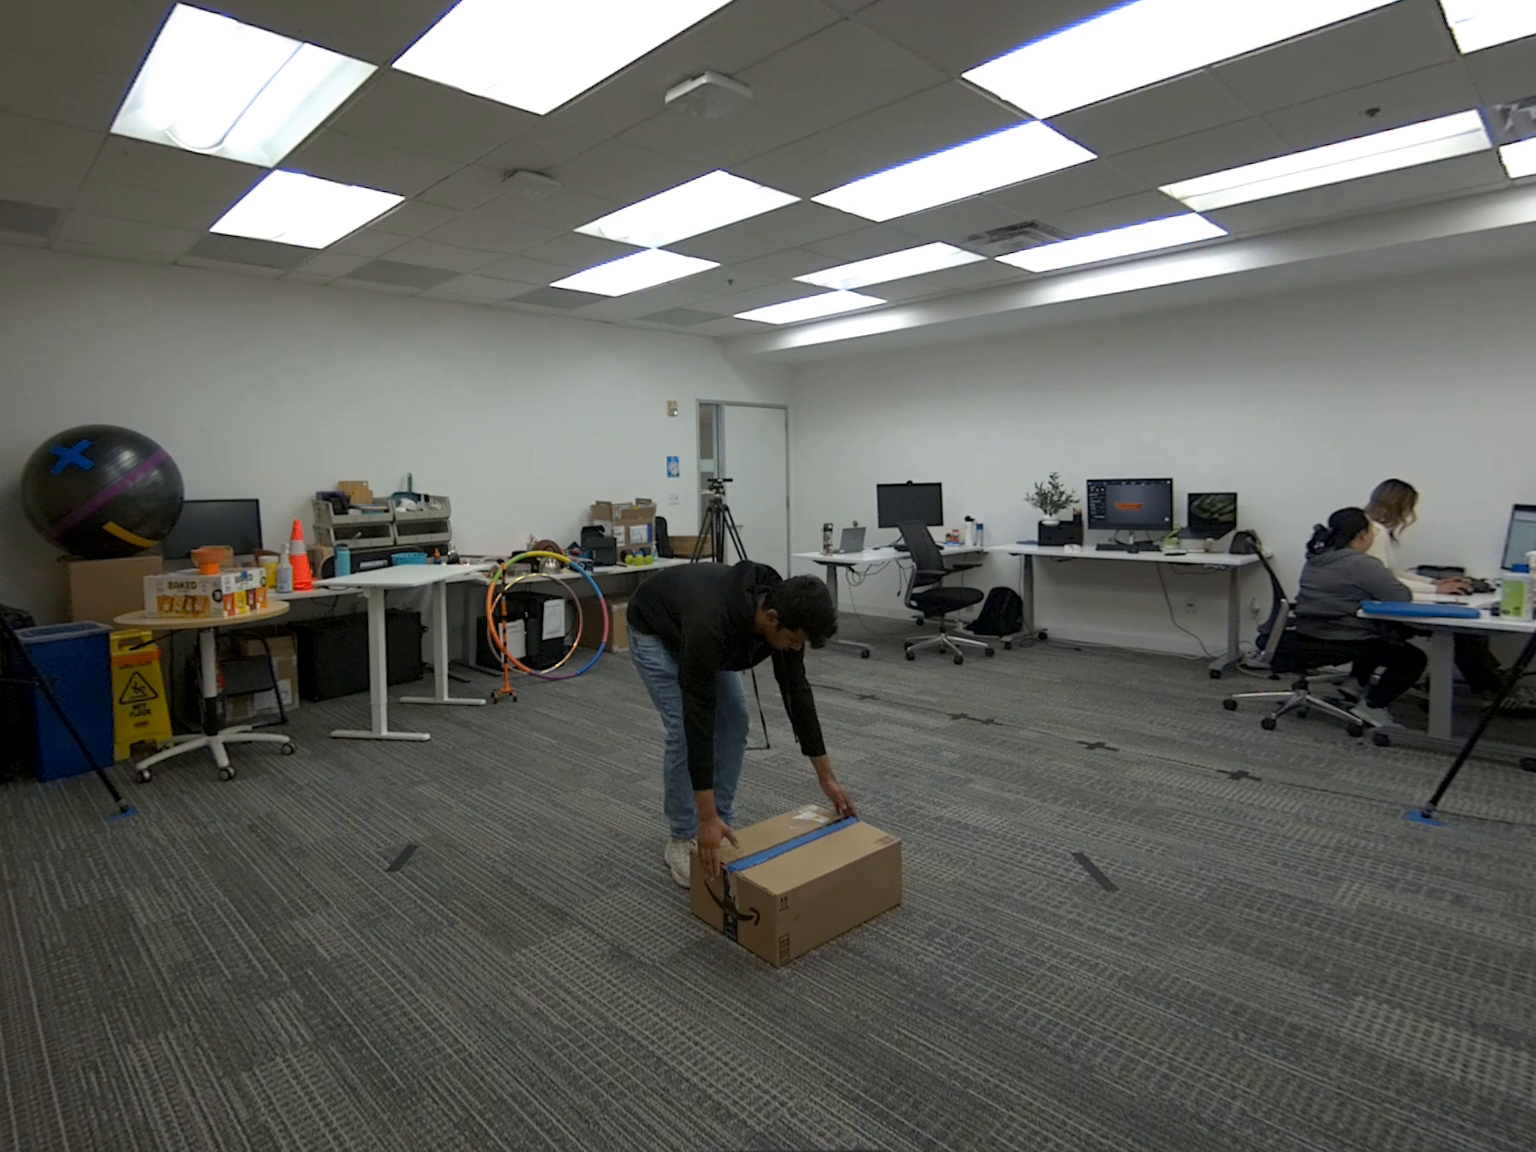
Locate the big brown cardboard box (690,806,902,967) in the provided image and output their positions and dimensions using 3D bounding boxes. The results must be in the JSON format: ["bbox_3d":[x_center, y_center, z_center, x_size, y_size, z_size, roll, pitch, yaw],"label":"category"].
[{"bbox_3d":[0.092,0.972,2.769,0.574,0.232,0.430,-8,9,-41],"label":"big brown cardboard box"}]
